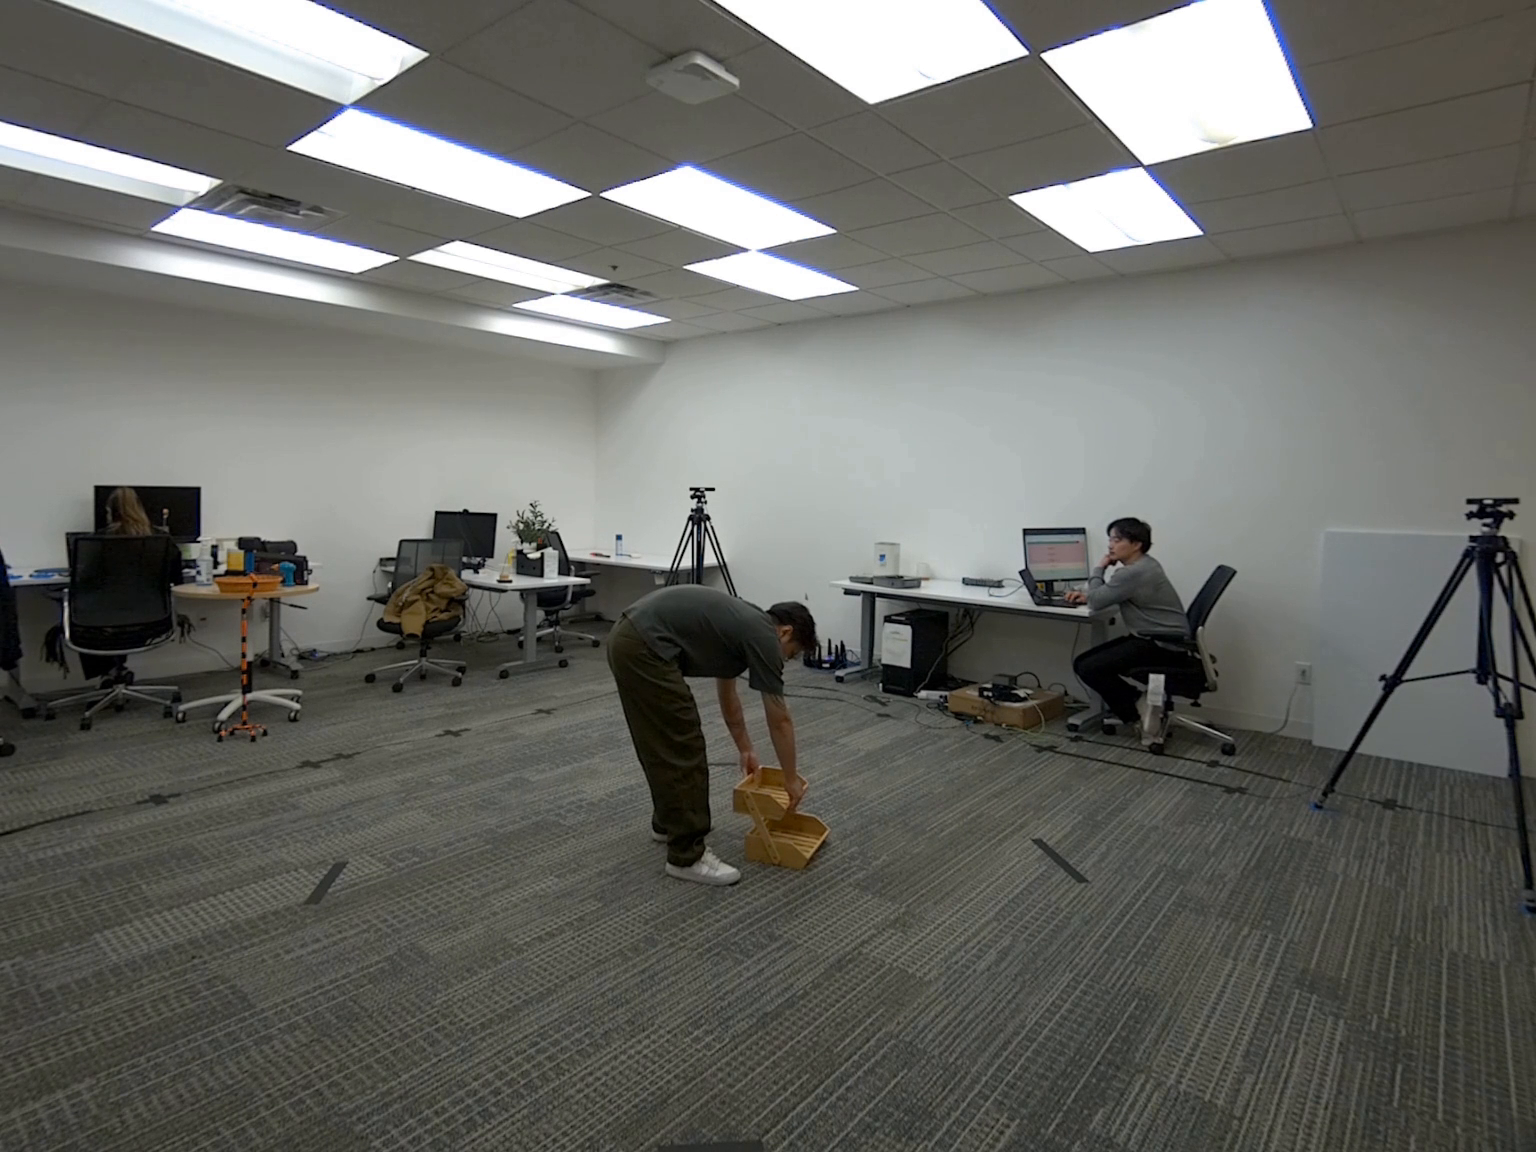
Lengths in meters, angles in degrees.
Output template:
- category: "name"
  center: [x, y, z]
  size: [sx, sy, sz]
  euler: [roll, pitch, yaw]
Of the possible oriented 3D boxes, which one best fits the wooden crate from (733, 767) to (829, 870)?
- category: "wooden crate"
  center: [0.058, 0.926, 3.295]
  size: [0.309, 0.272, 0.318]
  euler: [4, 4, 21]
